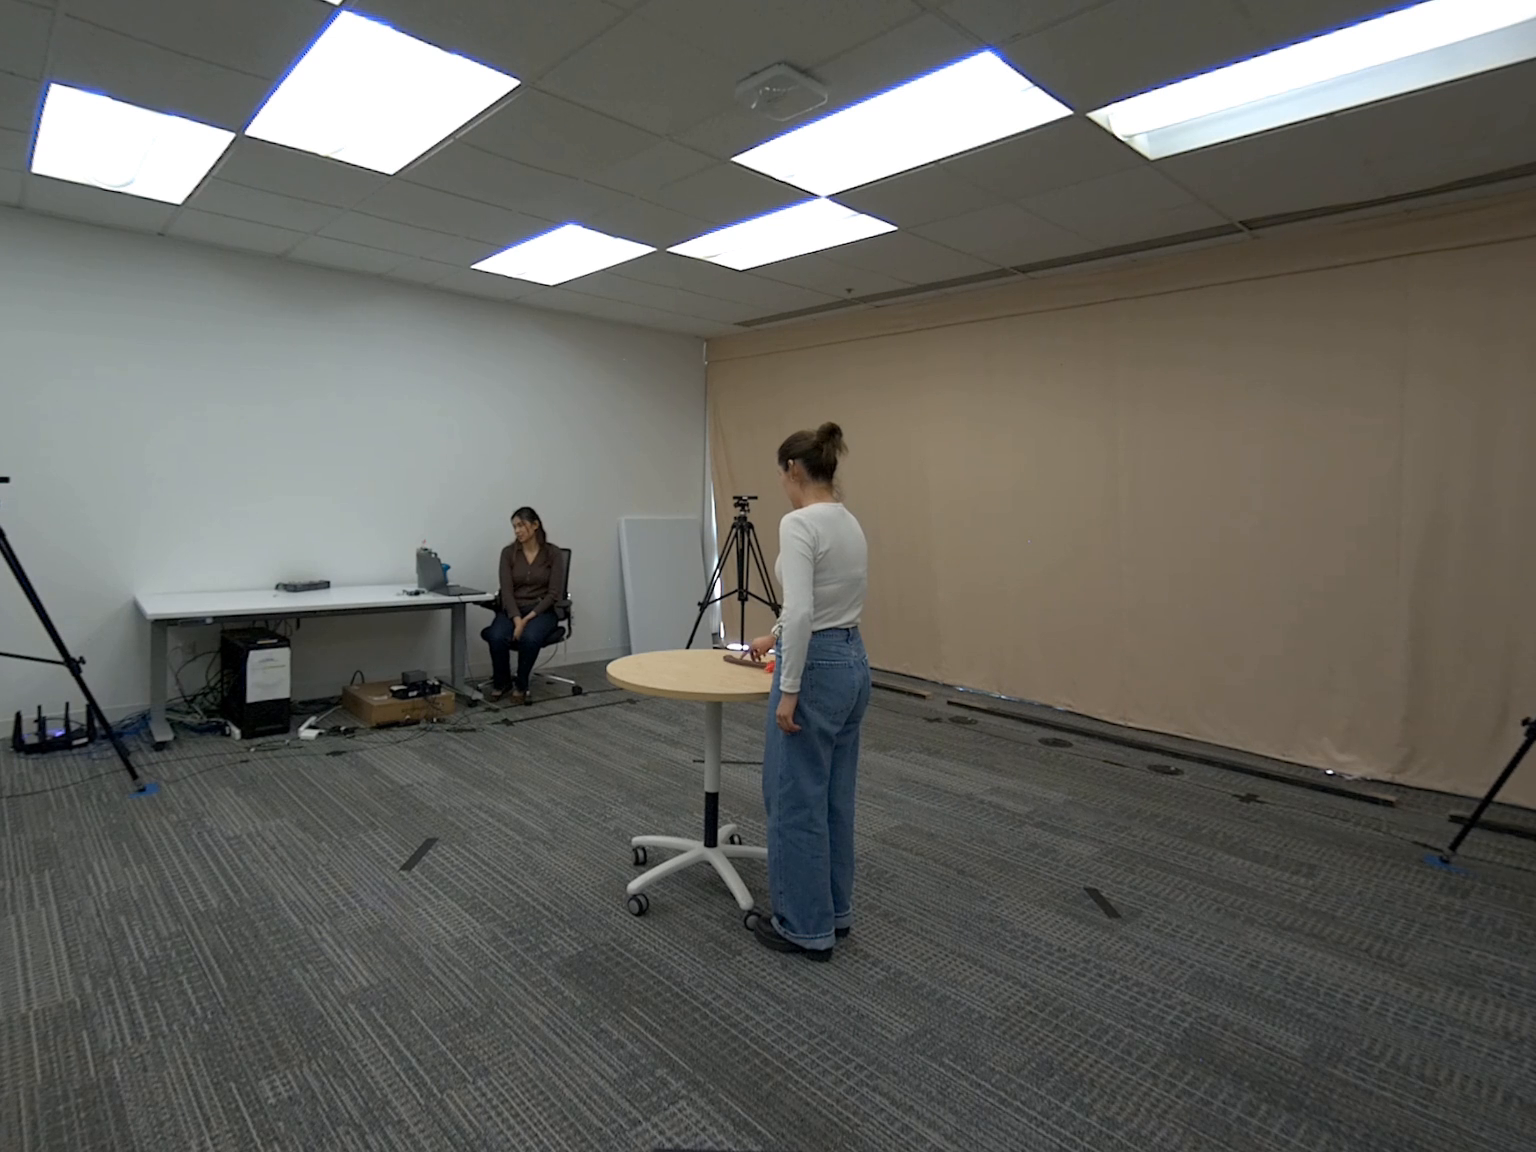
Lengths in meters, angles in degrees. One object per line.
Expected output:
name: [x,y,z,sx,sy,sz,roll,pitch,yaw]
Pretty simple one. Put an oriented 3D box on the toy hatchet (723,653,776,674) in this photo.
toy hatchet: [-0.047,0.316,3.072,0.128,0.029,0.277,-8,10,-37]
